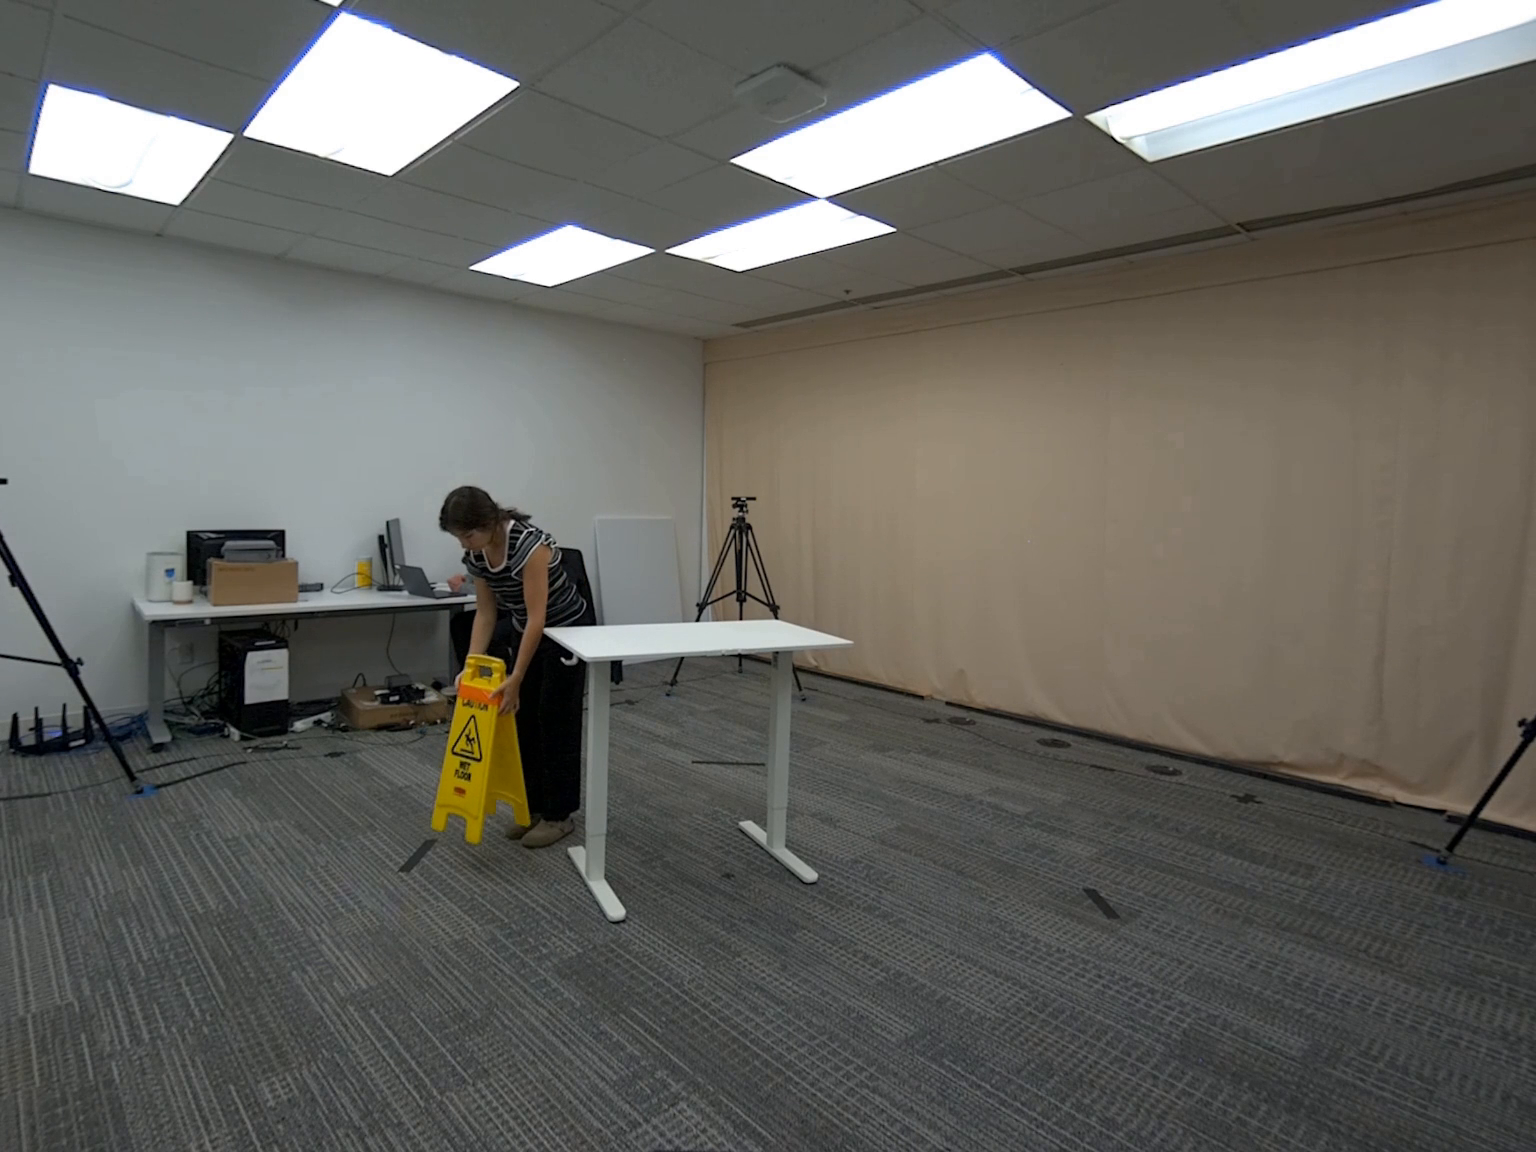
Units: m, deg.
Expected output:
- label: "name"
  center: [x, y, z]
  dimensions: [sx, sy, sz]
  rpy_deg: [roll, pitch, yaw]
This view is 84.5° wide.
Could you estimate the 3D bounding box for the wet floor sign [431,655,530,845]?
- label: "wet floor sign"
  center: [-1.103, 0.637, 3.201]
  dimensions: [0.289, 0.645, 0.283]
  rpy_deg: [3, 1, 33]
